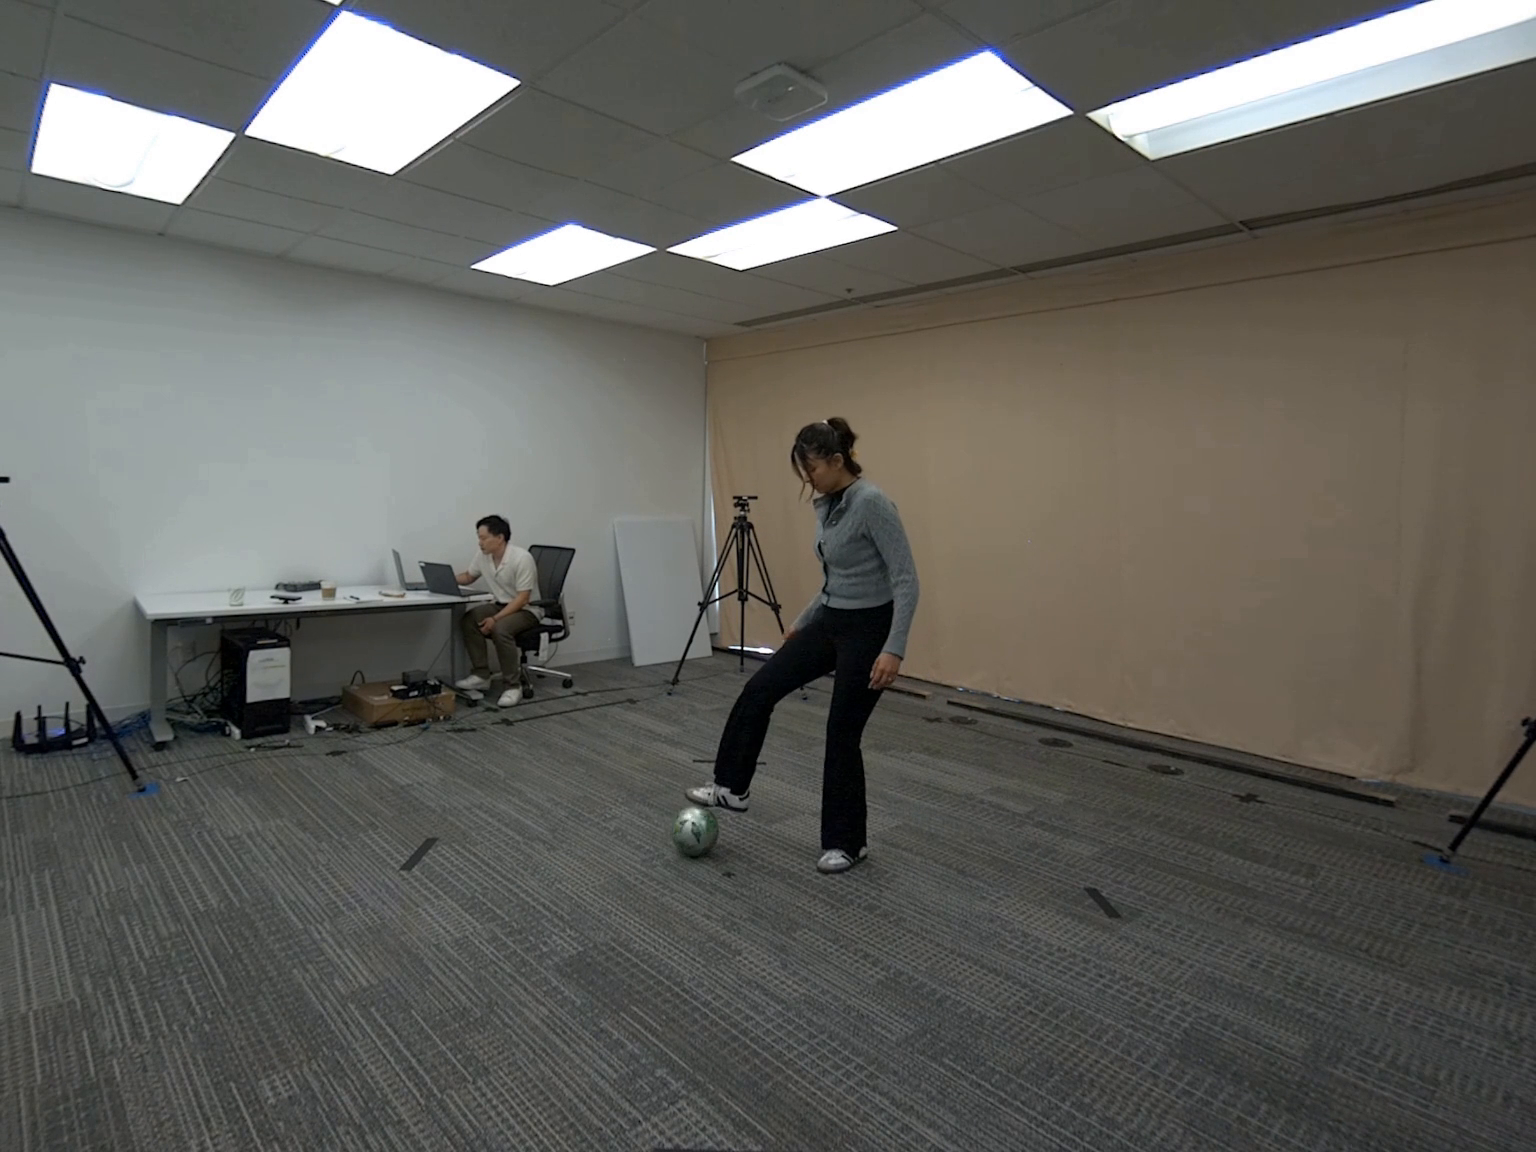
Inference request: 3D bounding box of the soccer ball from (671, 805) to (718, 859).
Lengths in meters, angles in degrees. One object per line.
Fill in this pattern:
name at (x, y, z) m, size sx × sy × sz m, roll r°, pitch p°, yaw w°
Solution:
soccer ball at (-0.277, 0.984, 3.243) m, size 0.187 × 0.187 × 0.188 m, roll 1°, pitch 4°, yaw -1°
